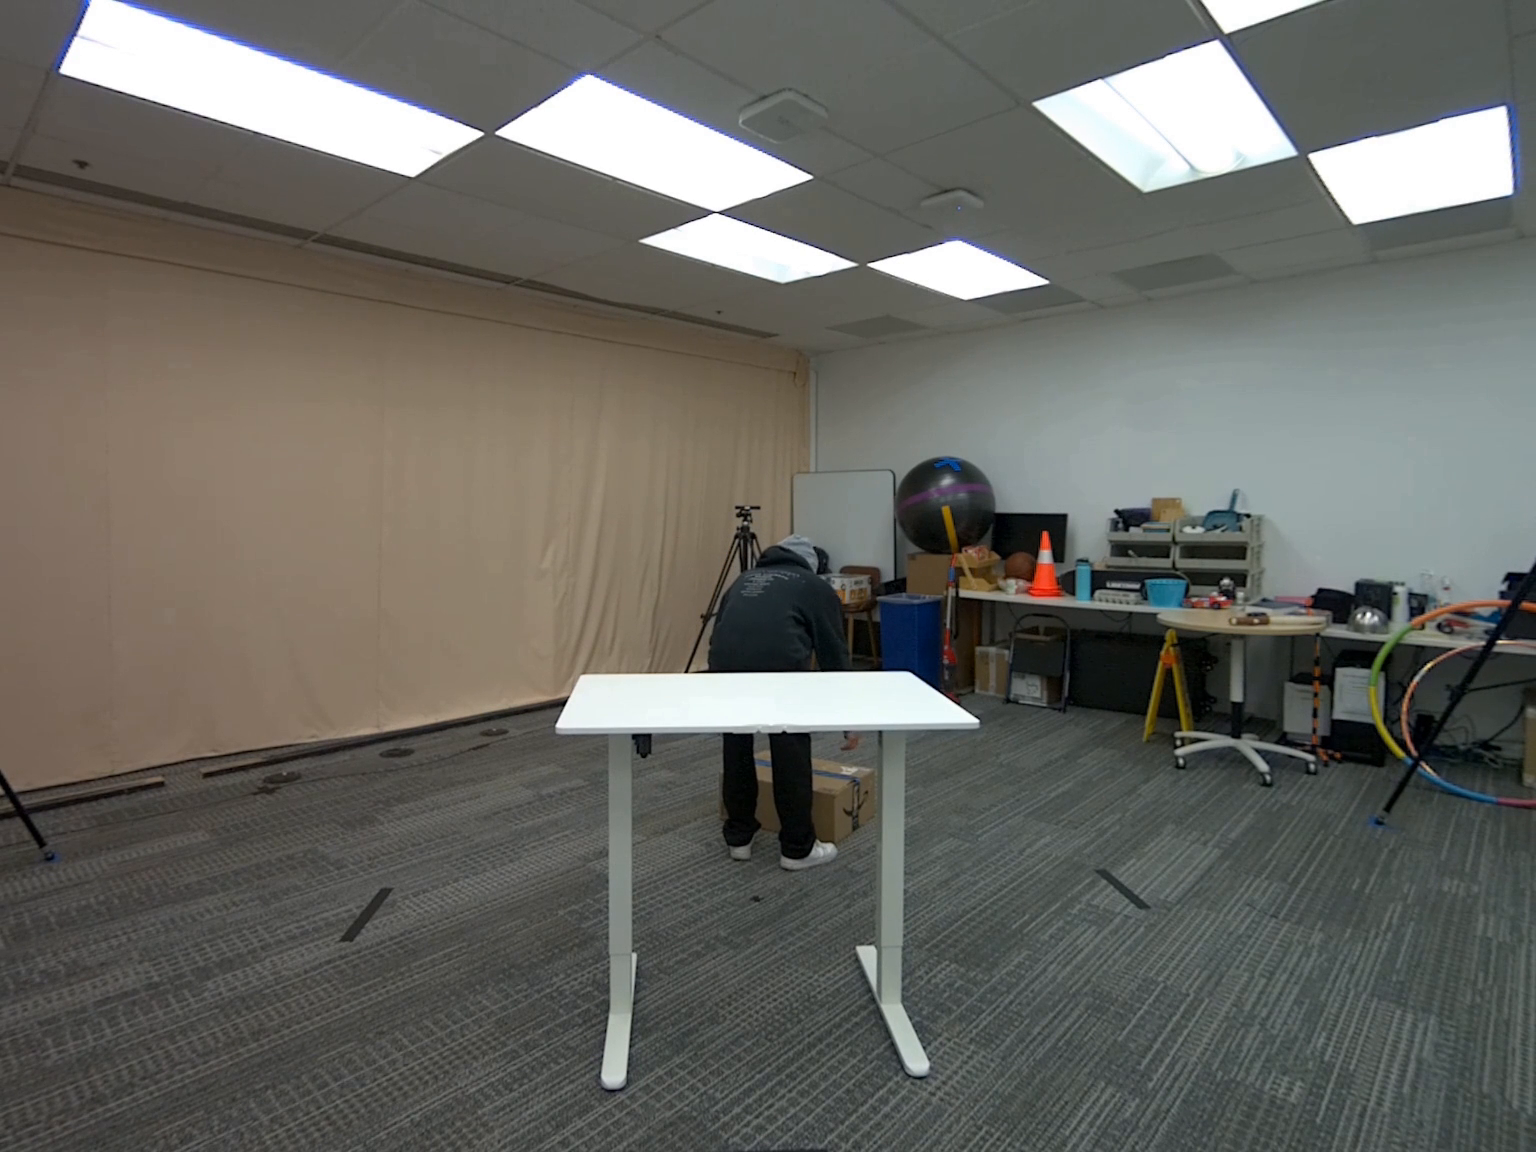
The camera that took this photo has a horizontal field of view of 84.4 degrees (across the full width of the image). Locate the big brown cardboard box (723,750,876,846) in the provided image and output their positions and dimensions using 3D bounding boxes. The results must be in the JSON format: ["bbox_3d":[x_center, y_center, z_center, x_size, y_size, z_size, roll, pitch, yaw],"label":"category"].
[{"bbox_3d":[0.137,0.968,3.754,0.606,0.233,0.406,2,4,31],"label":"big brown cardboard box"}]
